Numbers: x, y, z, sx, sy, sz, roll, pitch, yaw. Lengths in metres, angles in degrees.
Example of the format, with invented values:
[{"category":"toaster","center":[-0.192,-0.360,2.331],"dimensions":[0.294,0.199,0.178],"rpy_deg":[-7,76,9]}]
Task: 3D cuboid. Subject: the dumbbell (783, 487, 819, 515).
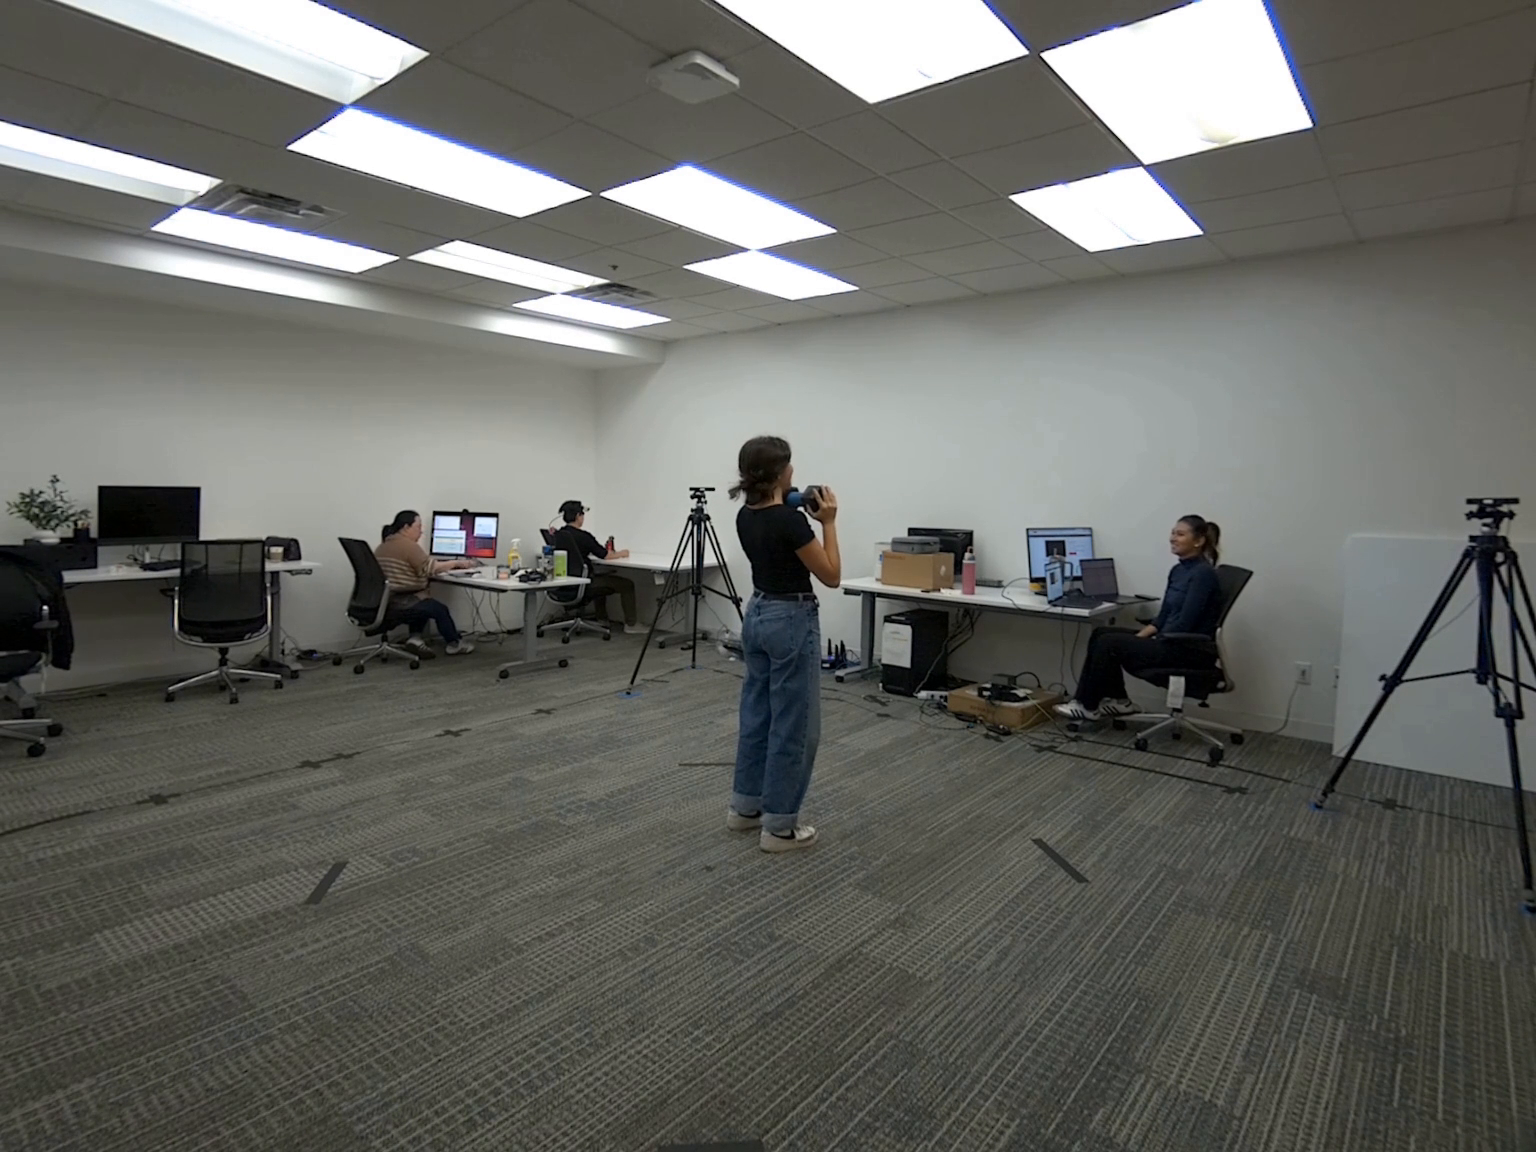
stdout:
[{"category":"dumbbell","center":[0.121,-0.309,3.396],"dimensions":[0.105,0.123,0.302],"rpy_deg":[41,-18,-28]}]
